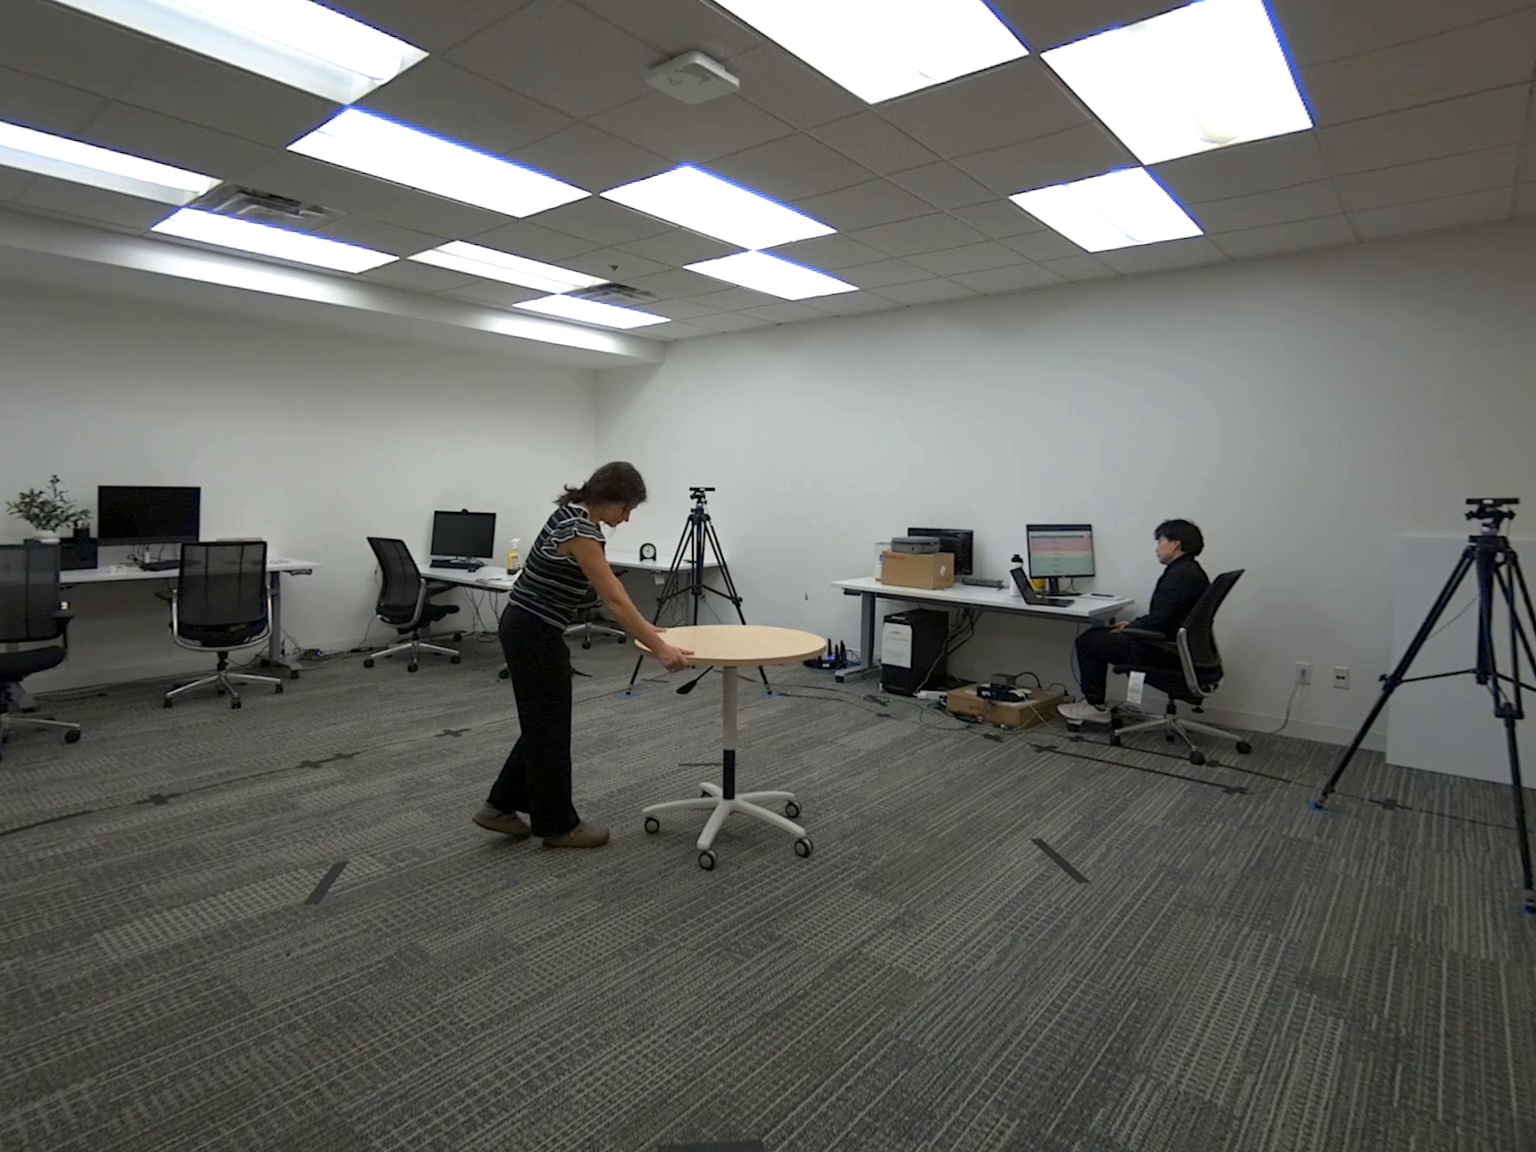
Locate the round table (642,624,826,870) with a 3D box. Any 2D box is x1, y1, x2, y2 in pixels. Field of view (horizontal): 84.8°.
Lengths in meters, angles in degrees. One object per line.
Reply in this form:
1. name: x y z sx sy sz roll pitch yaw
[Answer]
1. round table: -0.153 0.653 3.420 0.763 0.791 0.768 0 4 -2
